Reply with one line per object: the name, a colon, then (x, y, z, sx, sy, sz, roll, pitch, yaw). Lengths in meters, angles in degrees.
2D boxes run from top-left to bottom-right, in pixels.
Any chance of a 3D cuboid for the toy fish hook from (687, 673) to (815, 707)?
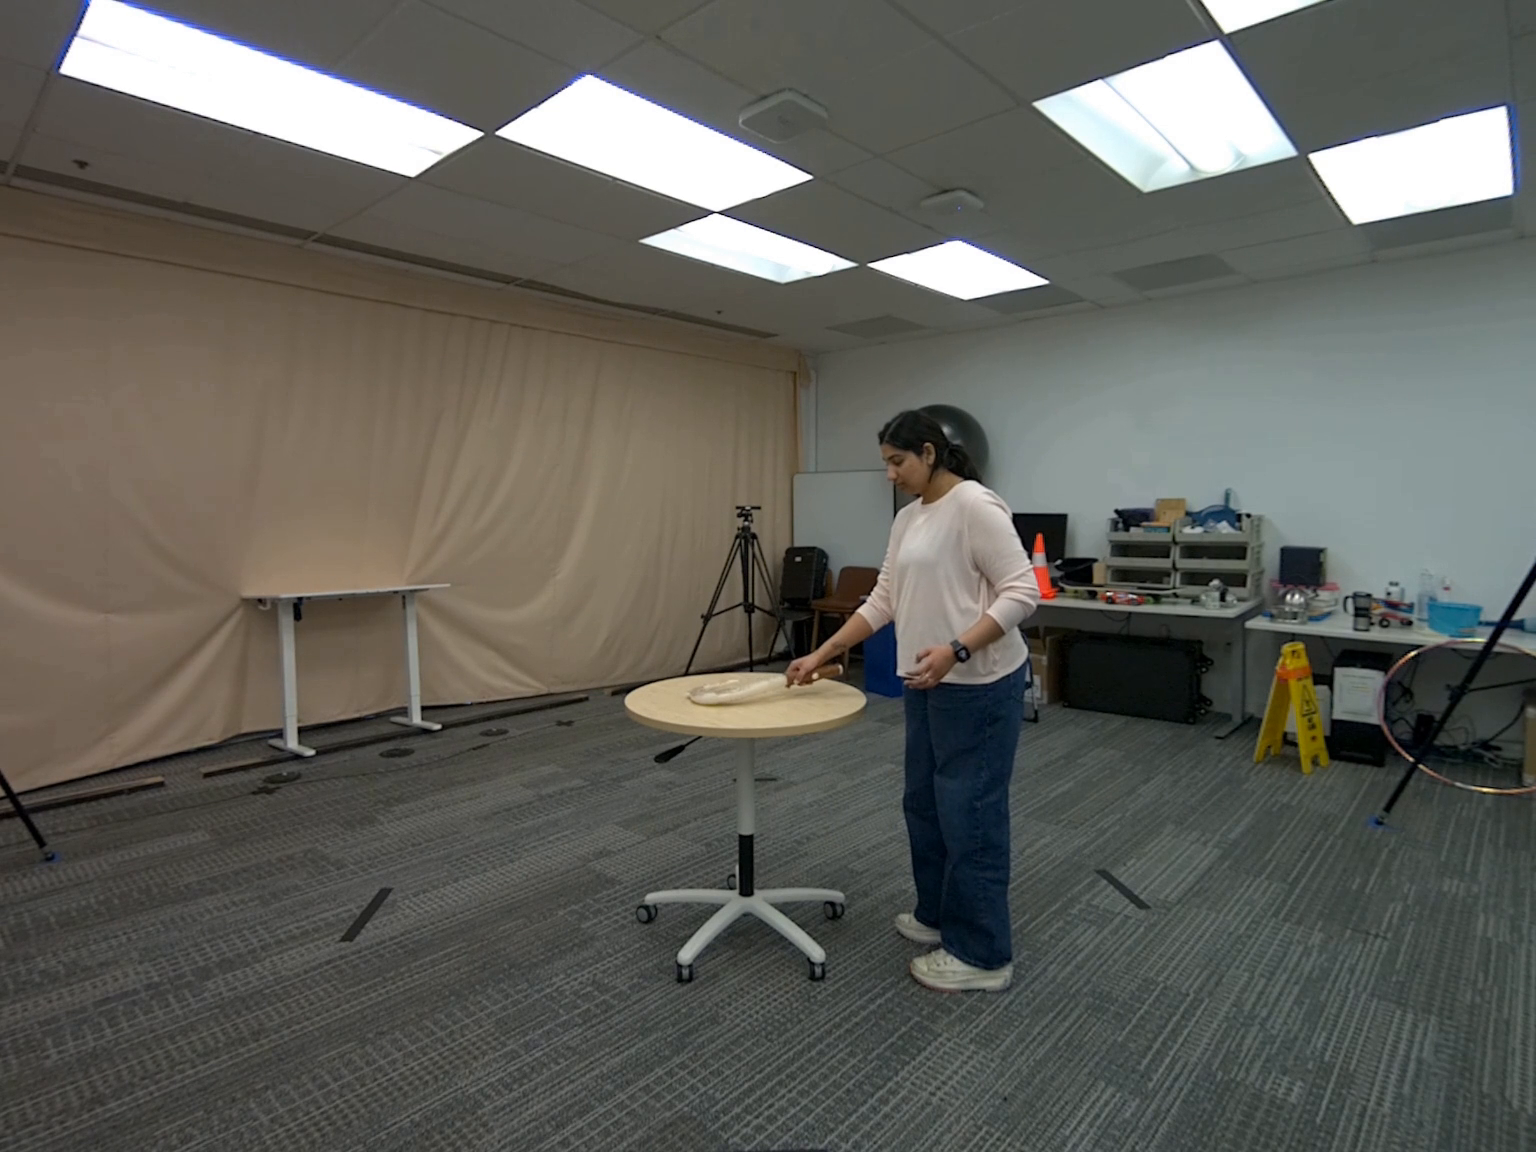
toy fish hook: (-0.003, 0.348, 2.700, 0.499, 0.048, 0.229, -8, 8, -15)
